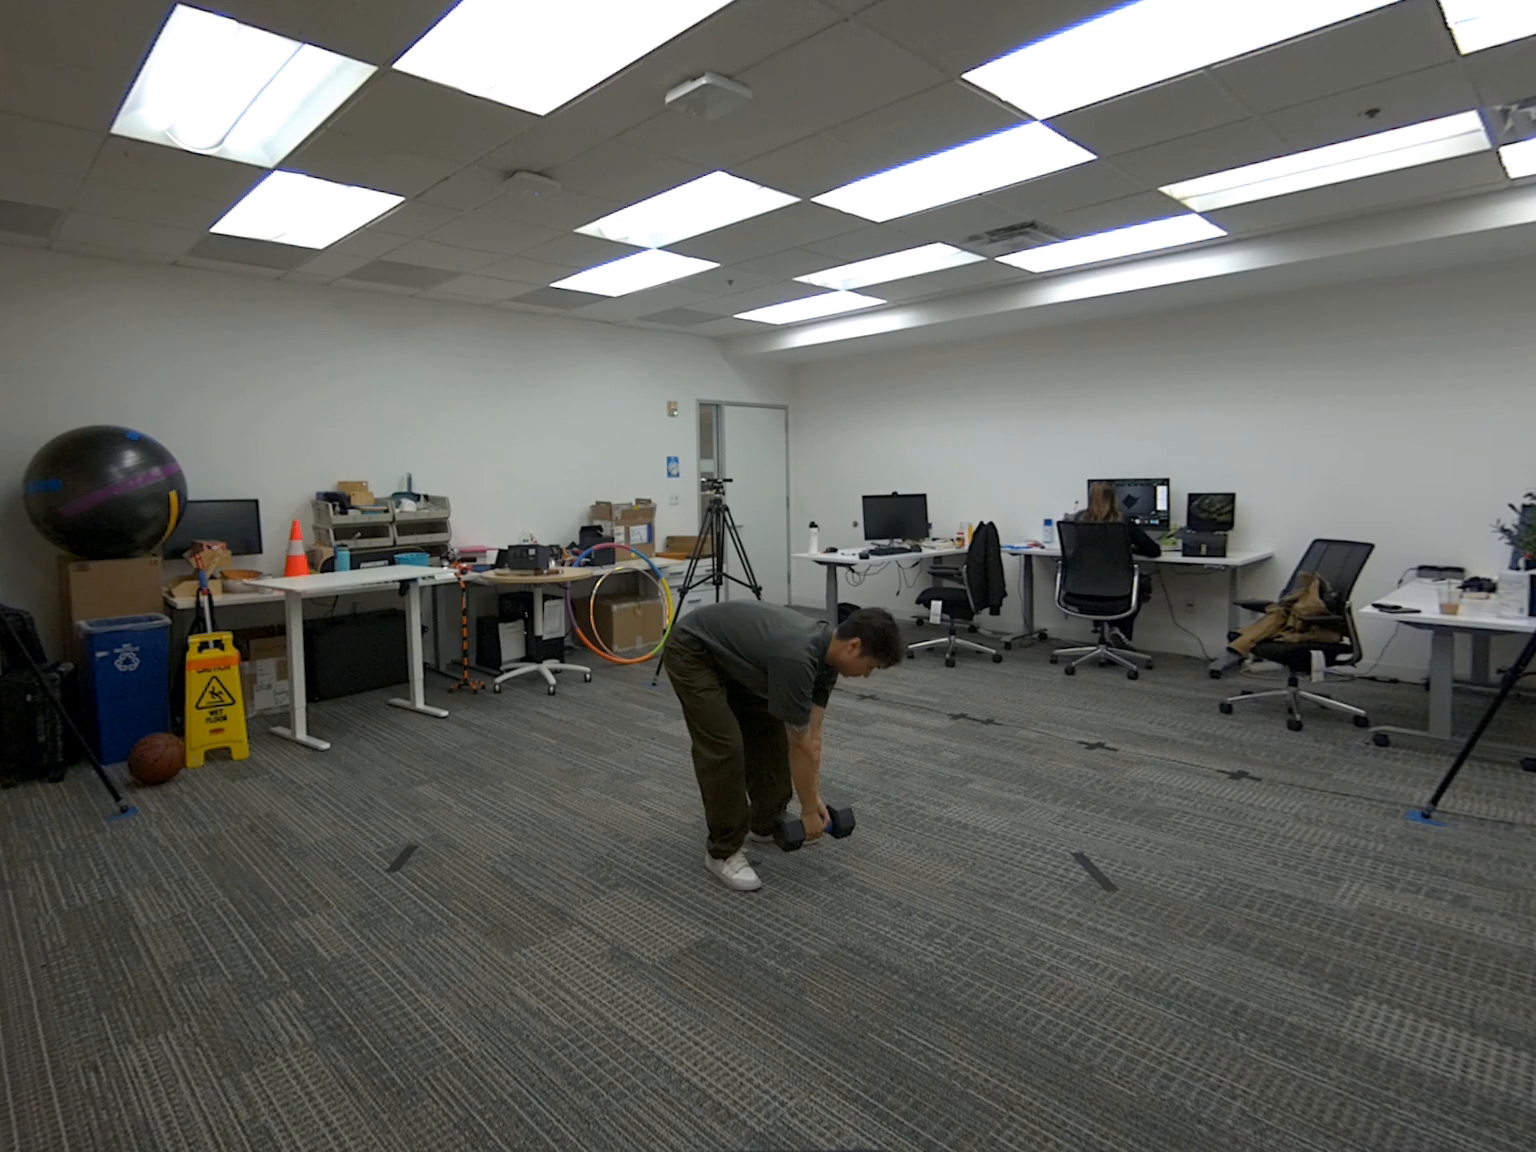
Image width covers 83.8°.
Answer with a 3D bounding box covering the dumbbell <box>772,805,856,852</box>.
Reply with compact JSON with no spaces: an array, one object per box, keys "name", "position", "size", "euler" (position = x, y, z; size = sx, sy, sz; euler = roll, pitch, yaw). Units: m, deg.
[{"name":"dumbbell","position":[0.164,0.868,2.990],"size":[0.287,0.121,0.113],"euler":[-5,40,-26]}]
